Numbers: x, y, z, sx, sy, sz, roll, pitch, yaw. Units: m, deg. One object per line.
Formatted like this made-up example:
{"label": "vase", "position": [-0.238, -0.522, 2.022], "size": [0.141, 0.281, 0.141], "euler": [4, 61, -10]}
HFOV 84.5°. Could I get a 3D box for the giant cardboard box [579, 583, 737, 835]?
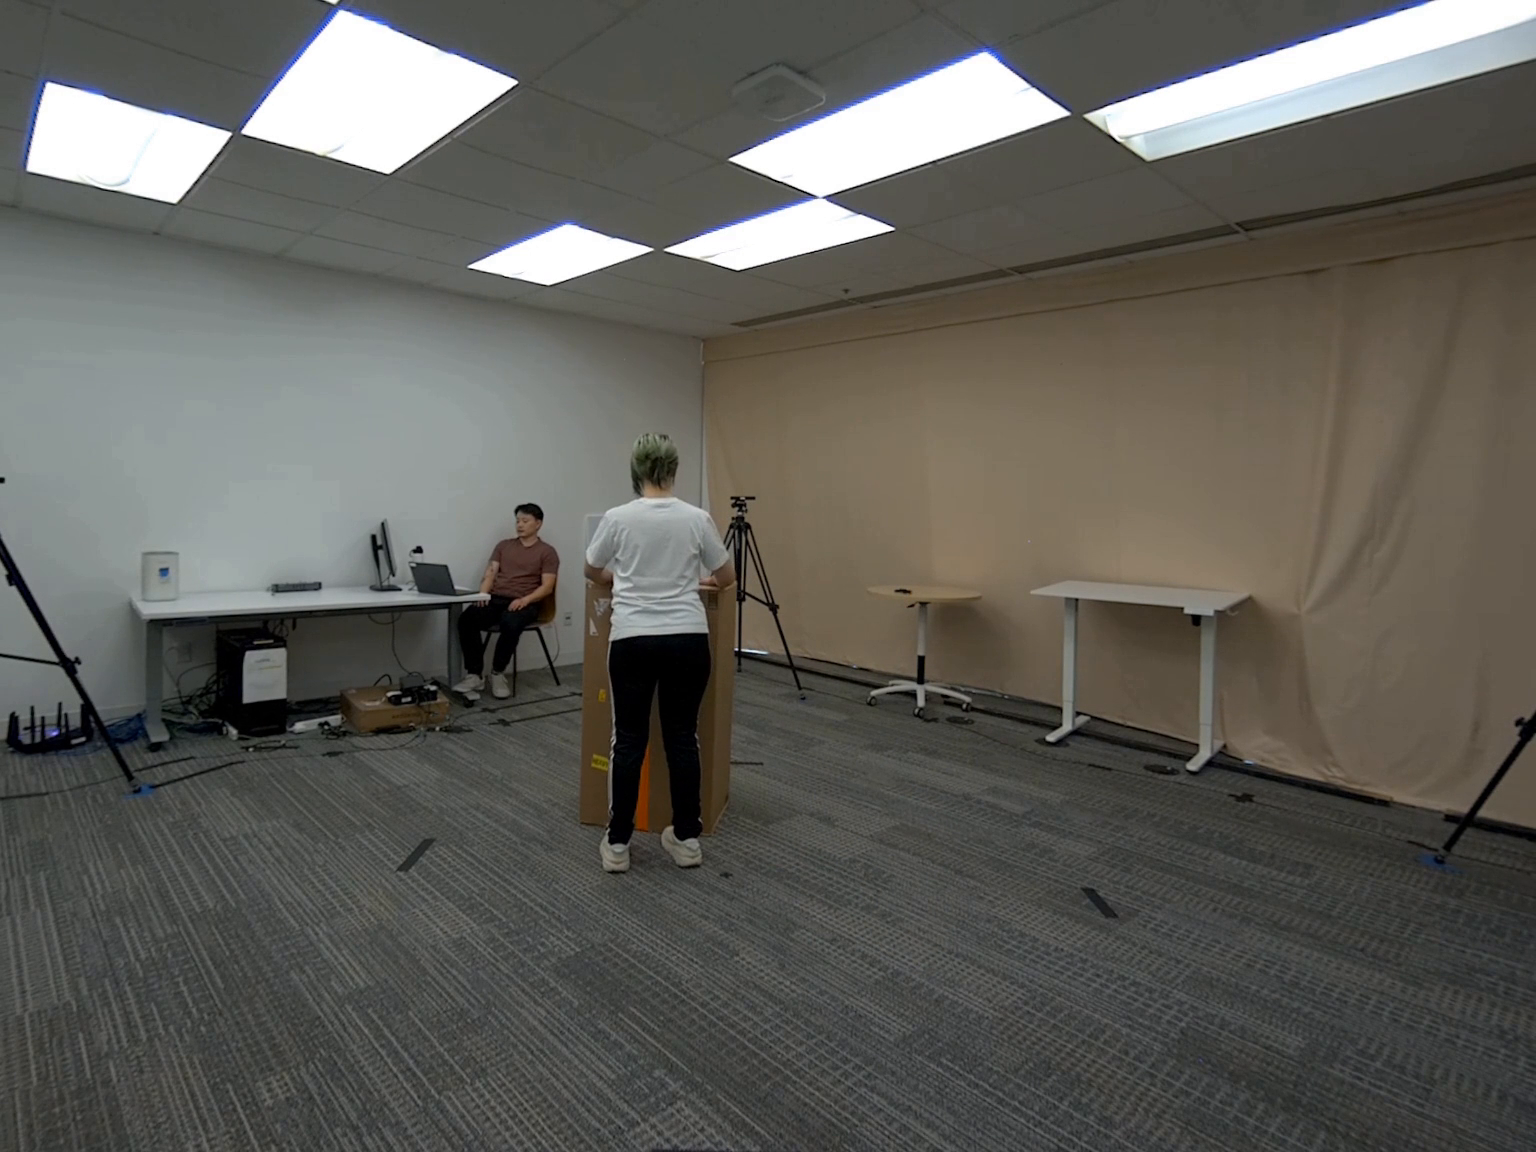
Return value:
{"label": "giant cardboard box", "position": [-0.482, 0.539, 3.696], "size": [0.589, 1.025, 0.444], "euler": [3, 2, 9]}
